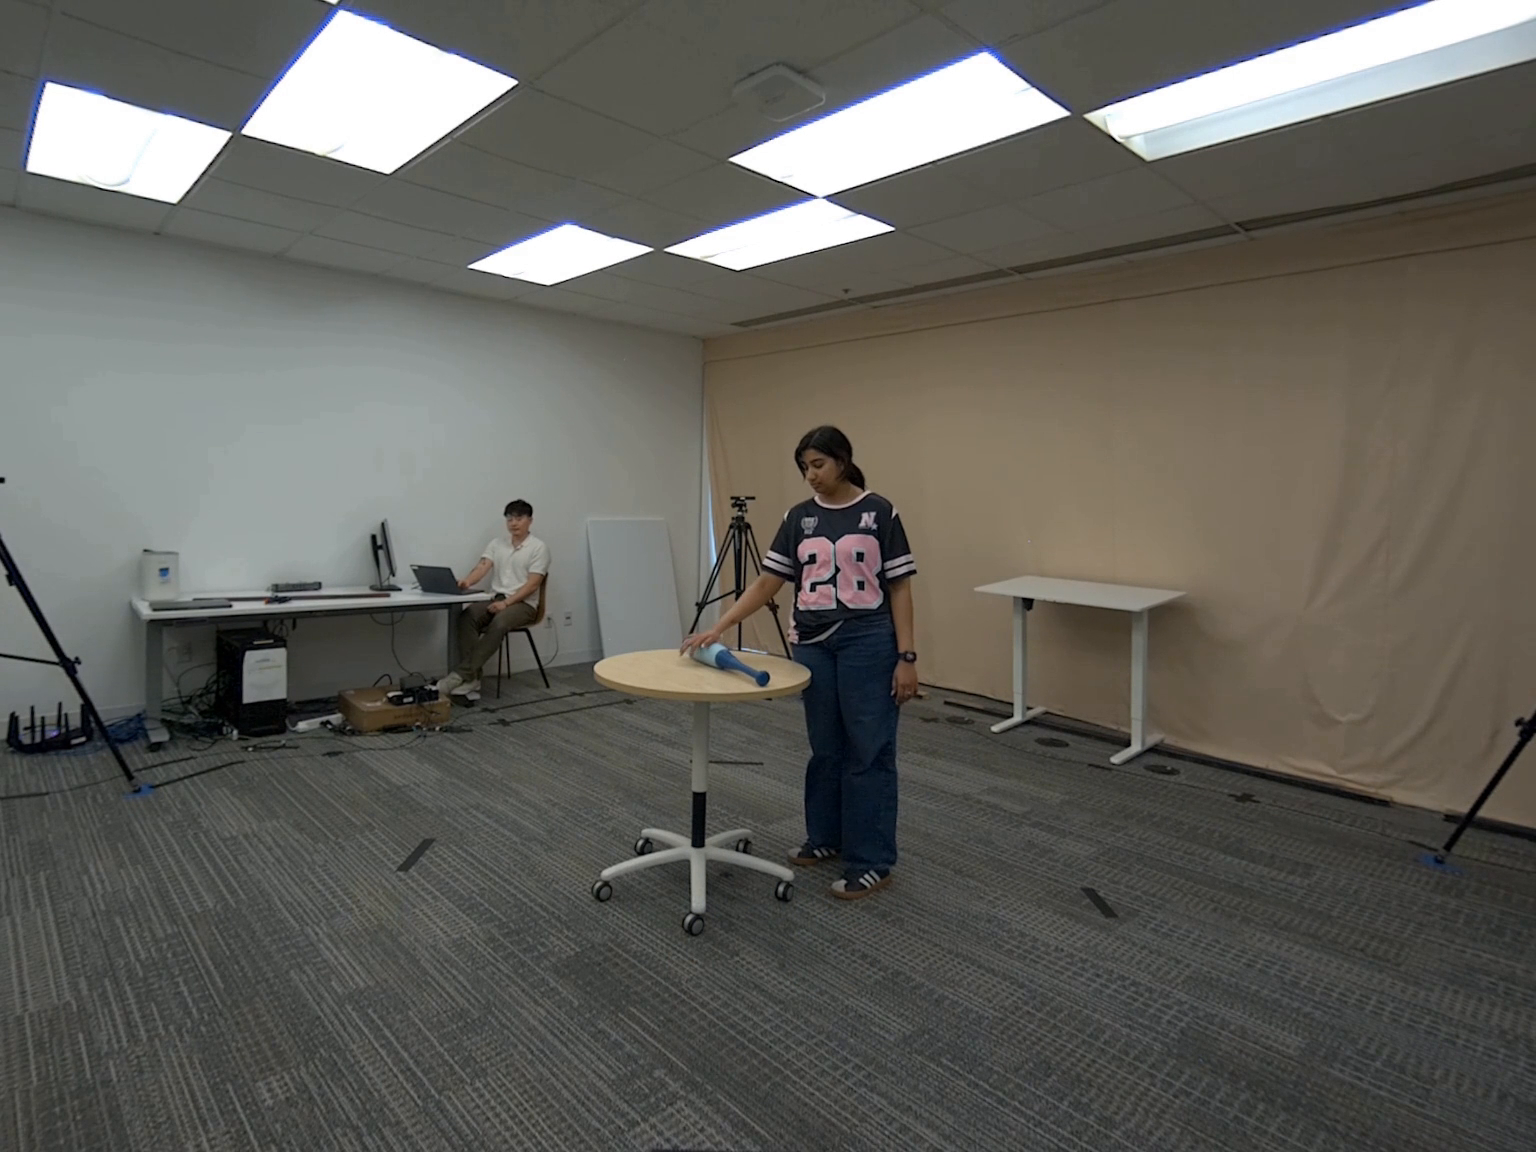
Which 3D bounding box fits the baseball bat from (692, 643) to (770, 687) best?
[{"bbox_3d":[-0.150,0.302,2.953,0.087,0.088,0.556,-1,8,-29],"label":"baseball bat"}]
